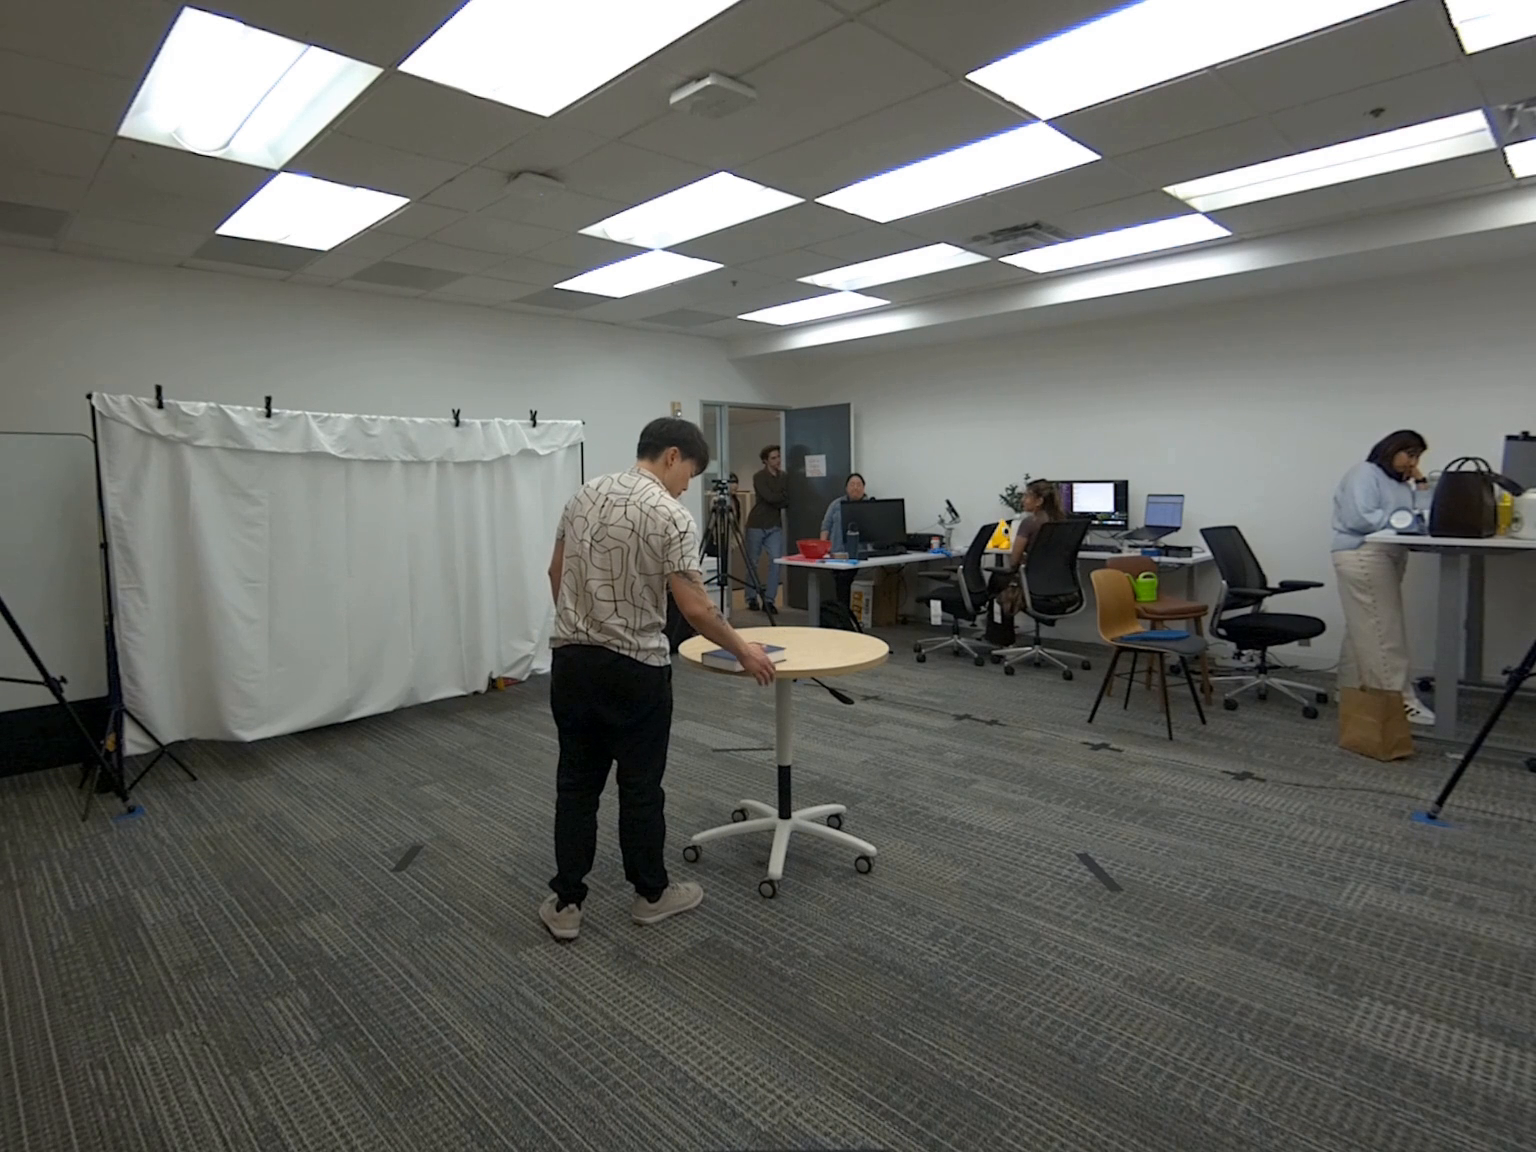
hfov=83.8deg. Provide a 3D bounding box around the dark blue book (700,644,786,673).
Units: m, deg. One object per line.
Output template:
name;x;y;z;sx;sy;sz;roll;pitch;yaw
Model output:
dark blue book;-0.065;0.269;2.866;0.168;0.045;0.239;3;8;41
